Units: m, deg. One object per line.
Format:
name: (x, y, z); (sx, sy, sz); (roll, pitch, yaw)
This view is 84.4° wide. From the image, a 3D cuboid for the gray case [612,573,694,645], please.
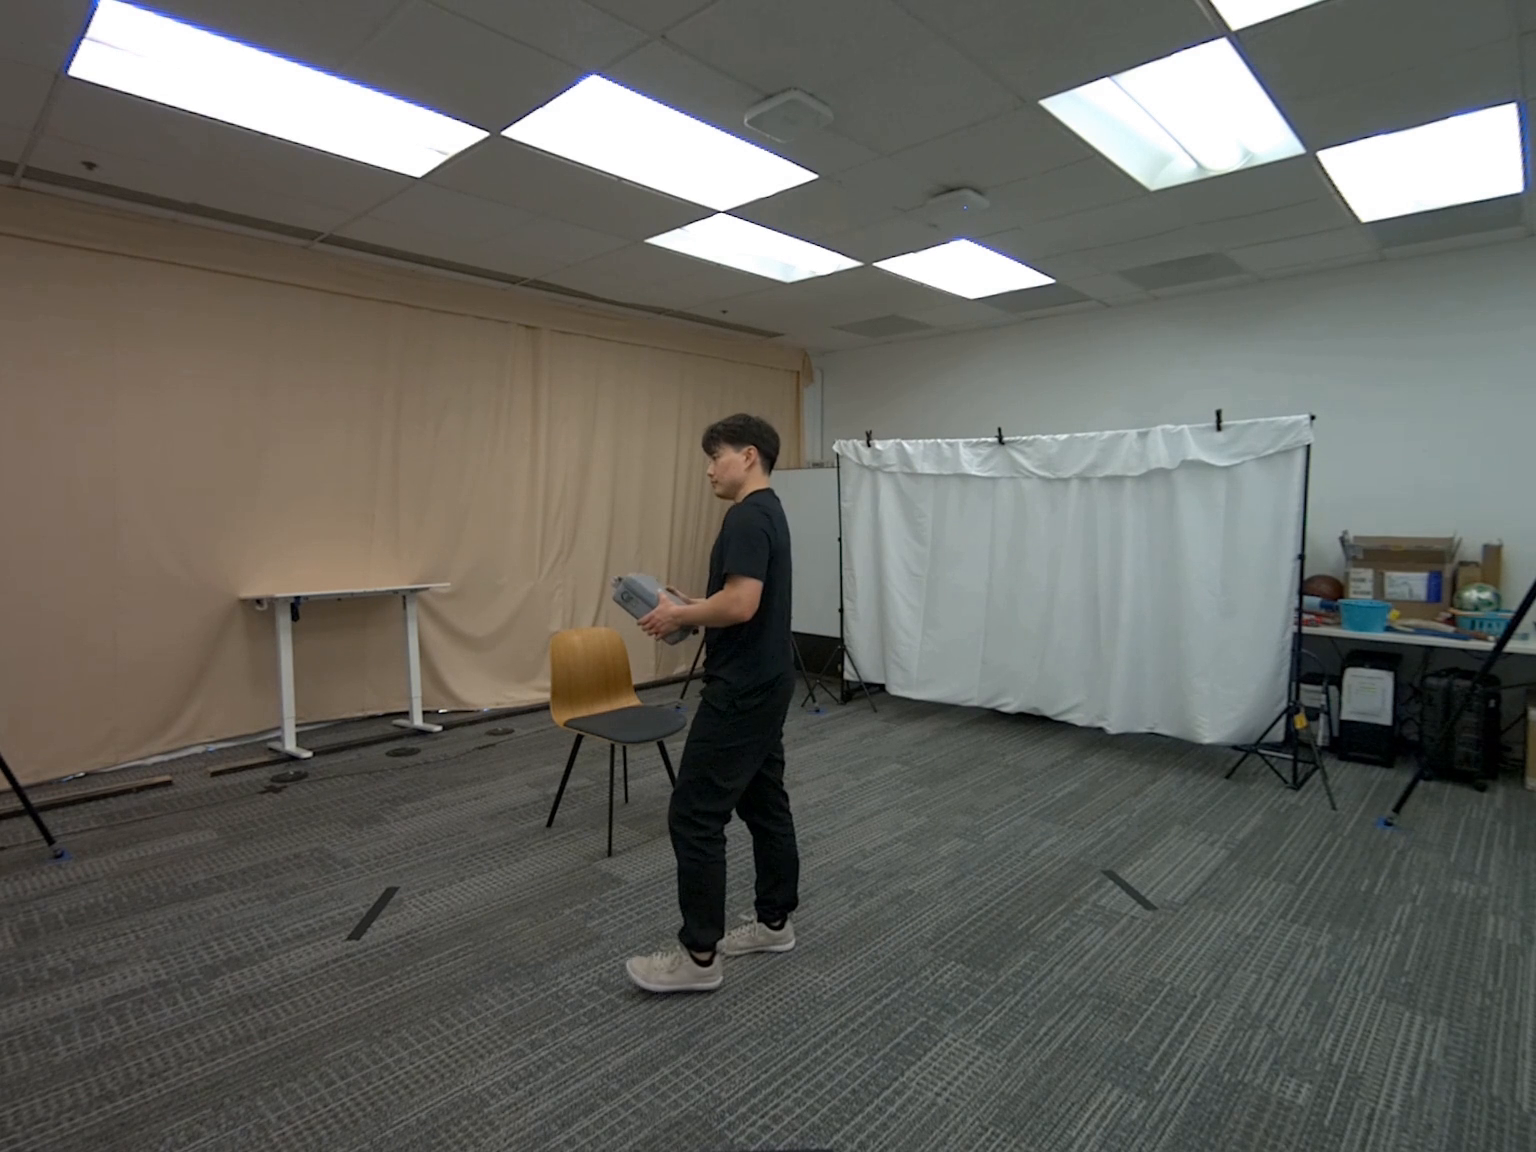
gray case: (-0.349, 0.101, 2.632); (0.264, 0.104, 0.254); (37, 3, 9)
